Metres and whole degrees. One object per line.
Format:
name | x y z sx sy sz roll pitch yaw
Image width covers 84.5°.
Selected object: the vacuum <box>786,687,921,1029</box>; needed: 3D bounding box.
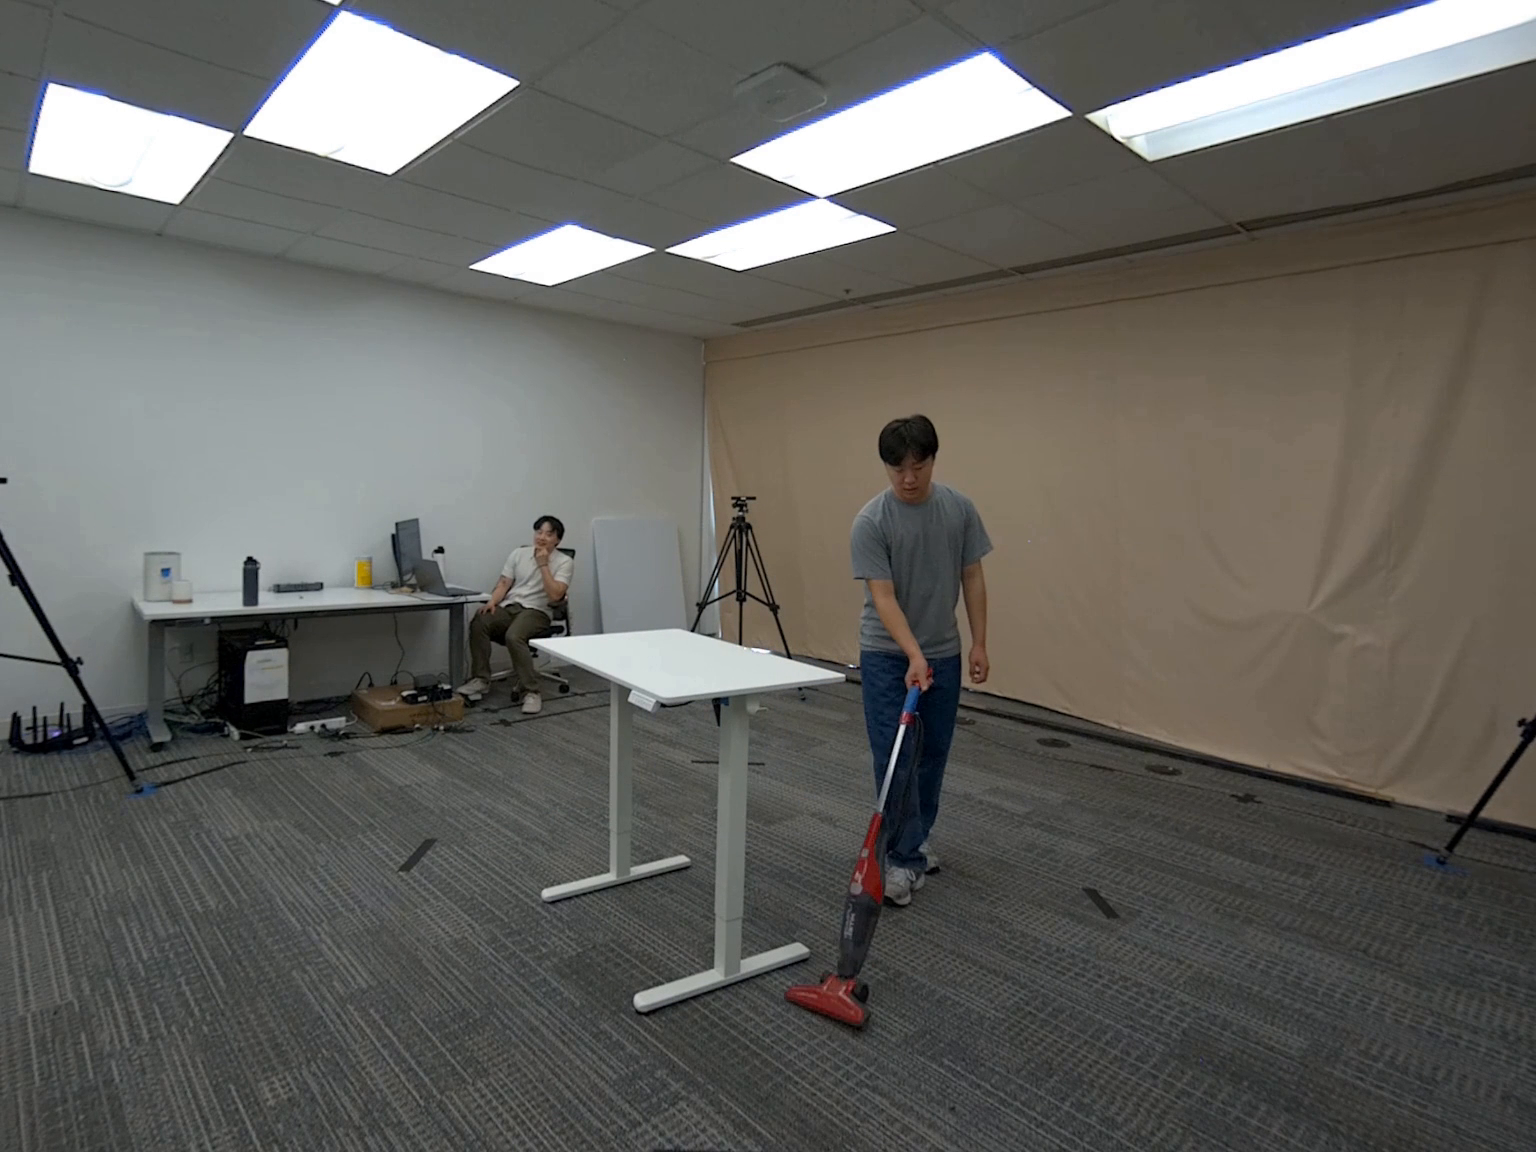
vacuum | 0.355 0.761 2.568 0.258 1.059 0.139 -2 -38 35
